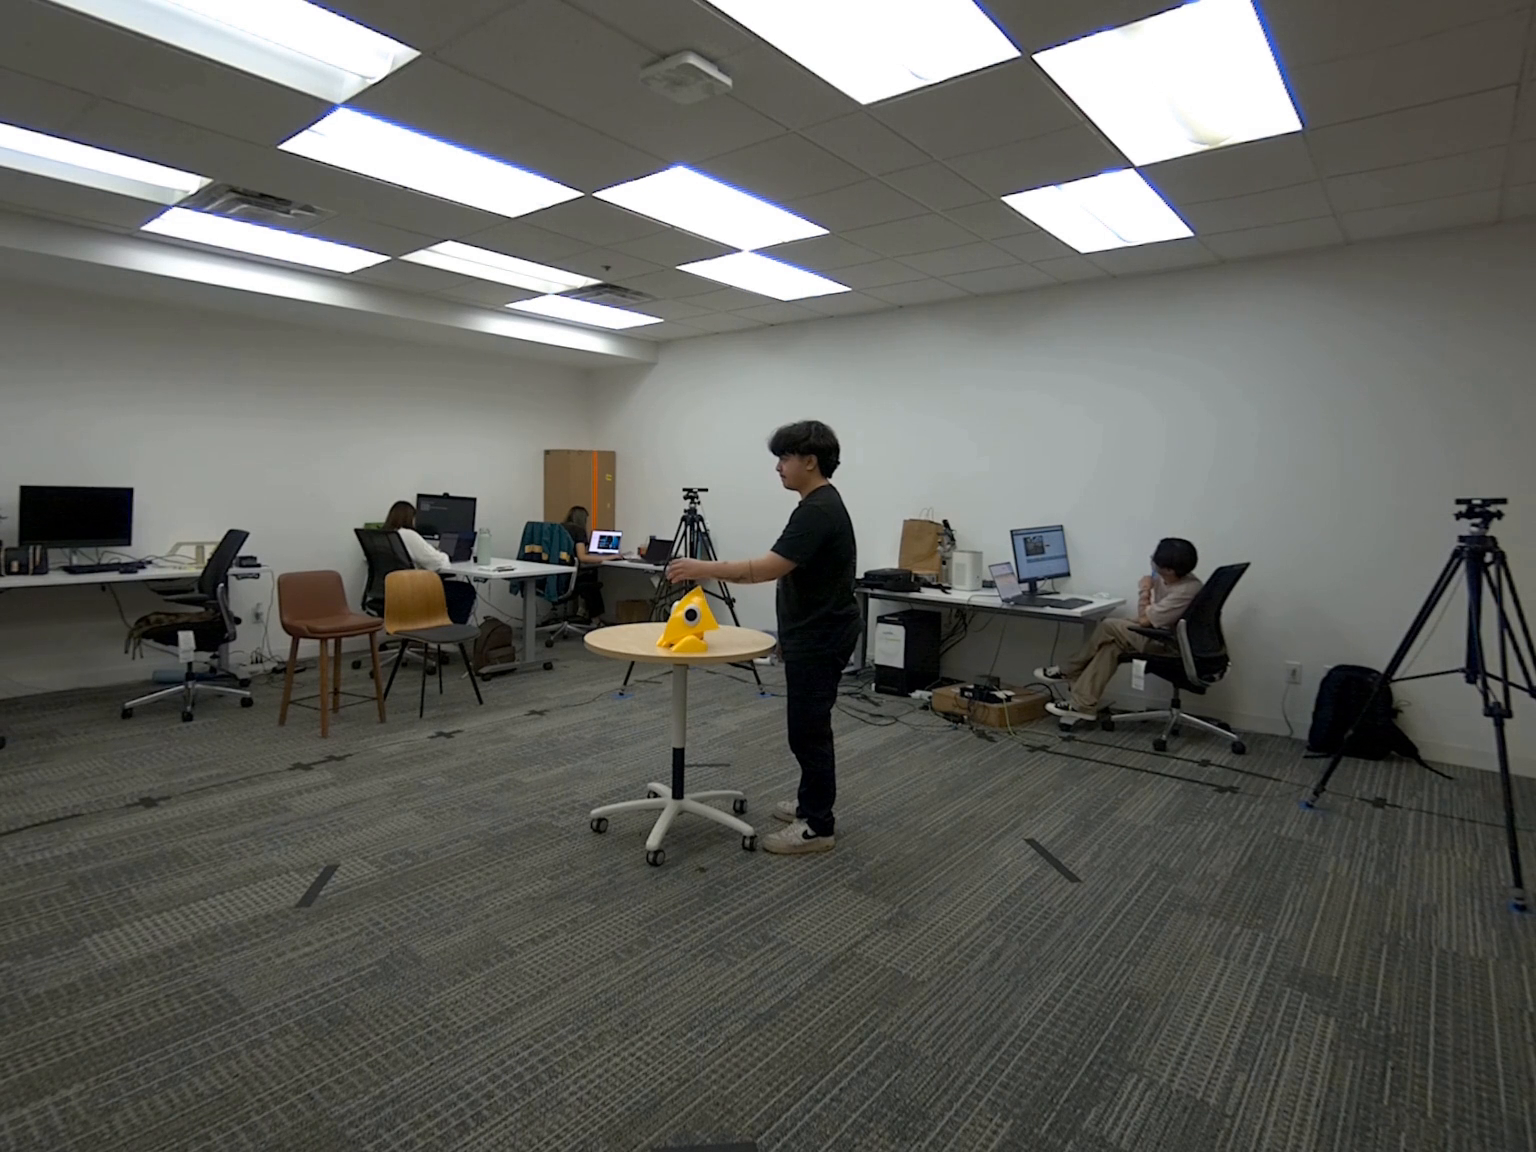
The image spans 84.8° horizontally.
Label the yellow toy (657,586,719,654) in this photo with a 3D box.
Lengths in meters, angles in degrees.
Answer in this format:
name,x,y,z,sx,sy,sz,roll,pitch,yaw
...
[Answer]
name,x,y,z,sx,sy,sz,roll,pitch,yaw
yellow toy,-0.321,0.151,3.217,0.188,0.230,0.211,-2,6,-33
